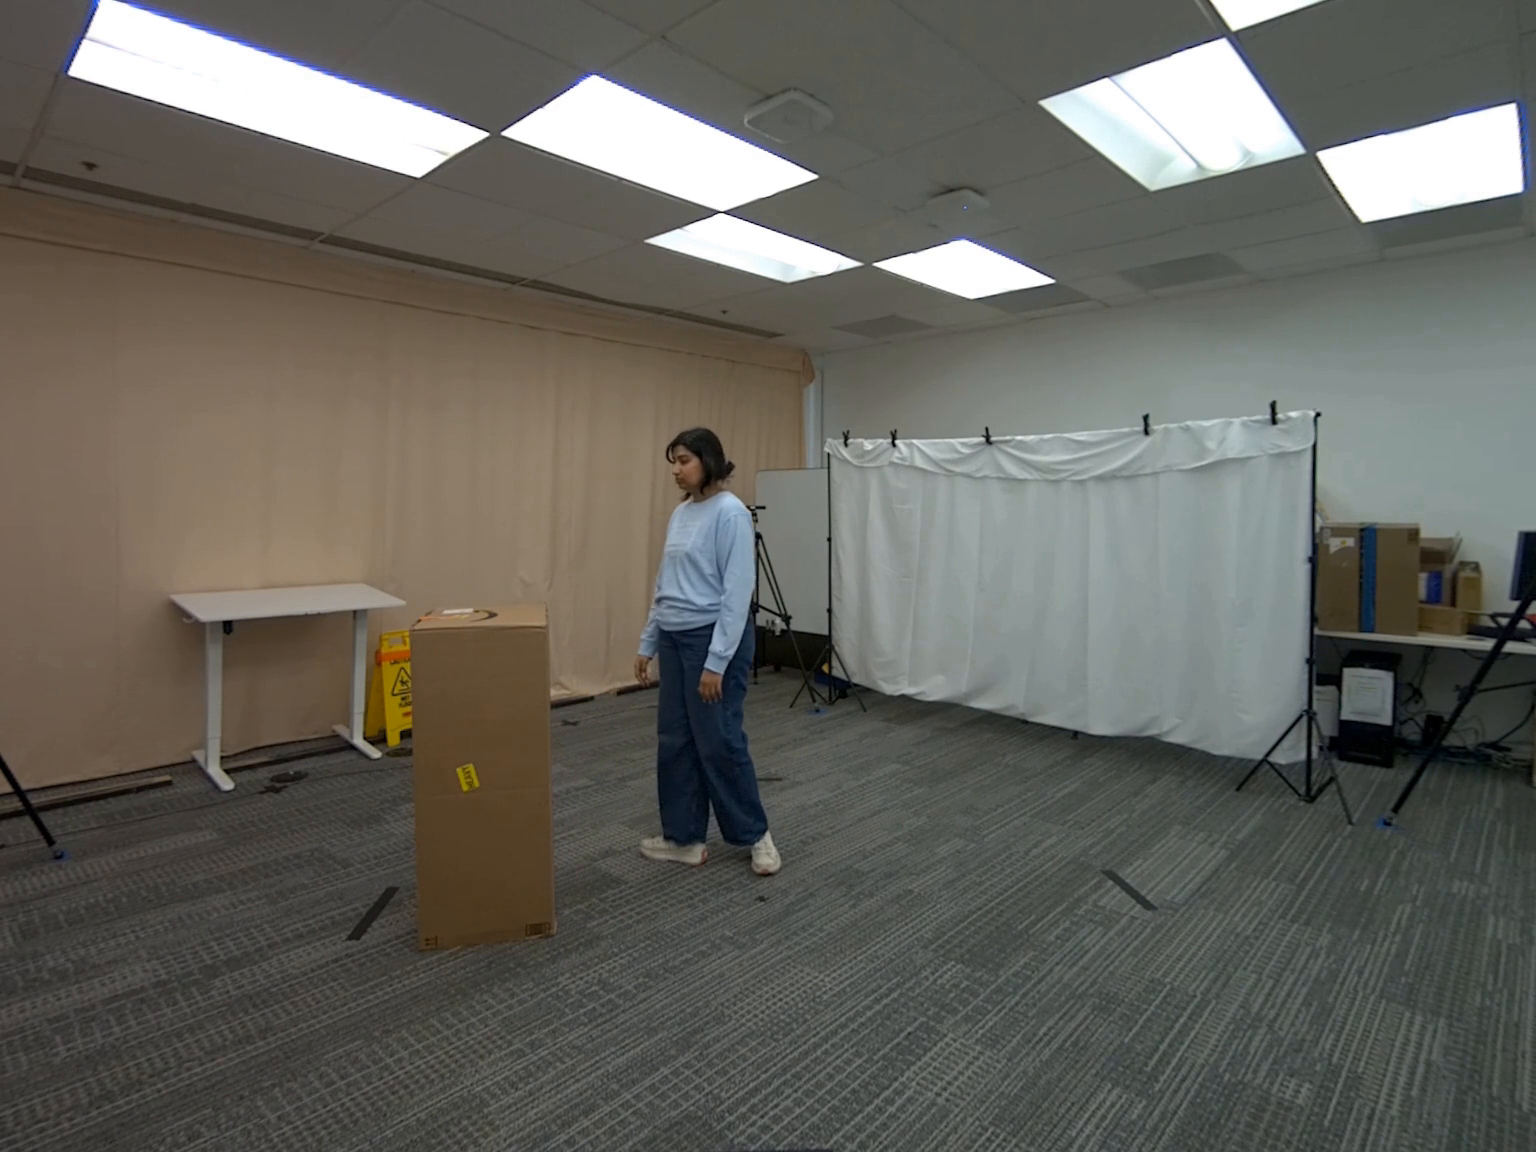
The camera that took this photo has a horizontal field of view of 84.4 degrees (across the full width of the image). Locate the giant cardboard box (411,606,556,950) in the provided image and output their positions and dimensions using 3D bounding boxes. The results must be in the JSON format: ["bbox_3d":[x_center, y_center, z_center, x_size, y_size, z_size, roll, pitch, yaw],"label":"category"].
[{"bbox_3d":[-0.980,0.647,2.941,0.420,1.024,0.587,-1,3,-14],"label":"giant cardboard box"}]
